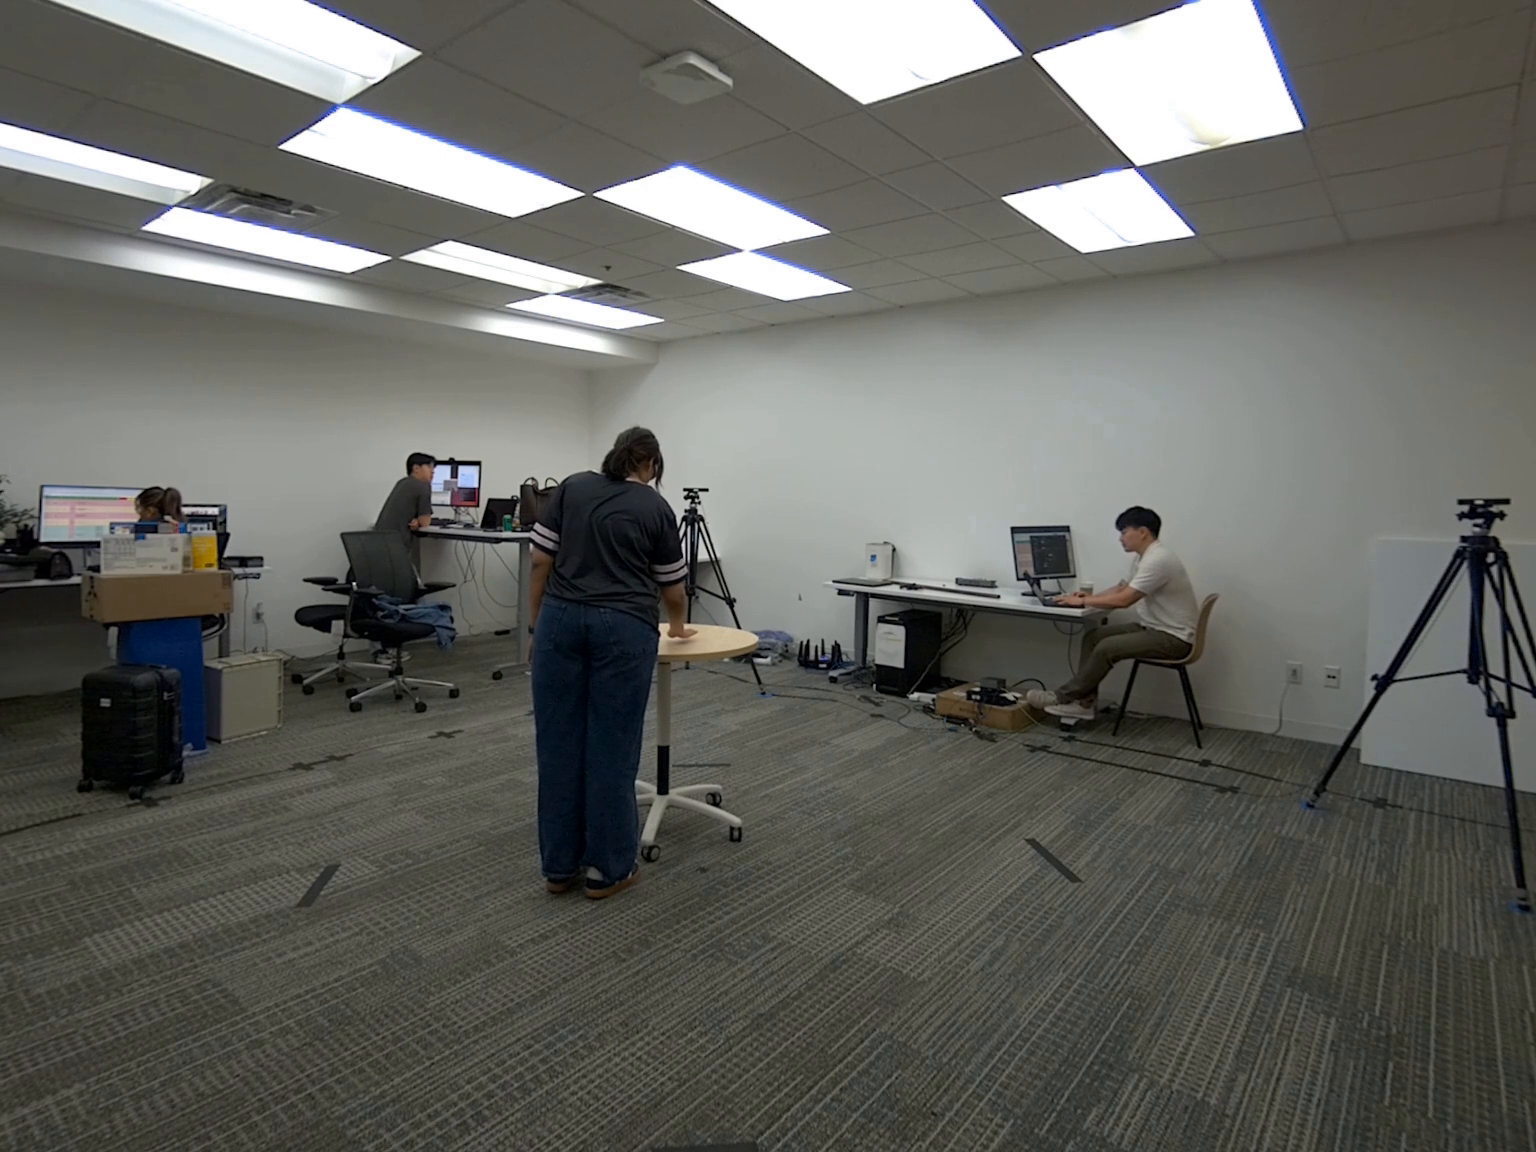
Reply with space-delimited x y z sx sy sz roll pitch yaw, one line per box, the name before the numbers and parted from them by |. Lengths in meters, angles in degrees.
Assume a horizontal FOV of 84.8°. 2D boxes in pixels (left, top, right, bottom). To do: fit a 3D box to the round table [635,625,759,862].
round table | -0.448 0.638 3.484 0.784 0.784 0.789 1 4 -2
